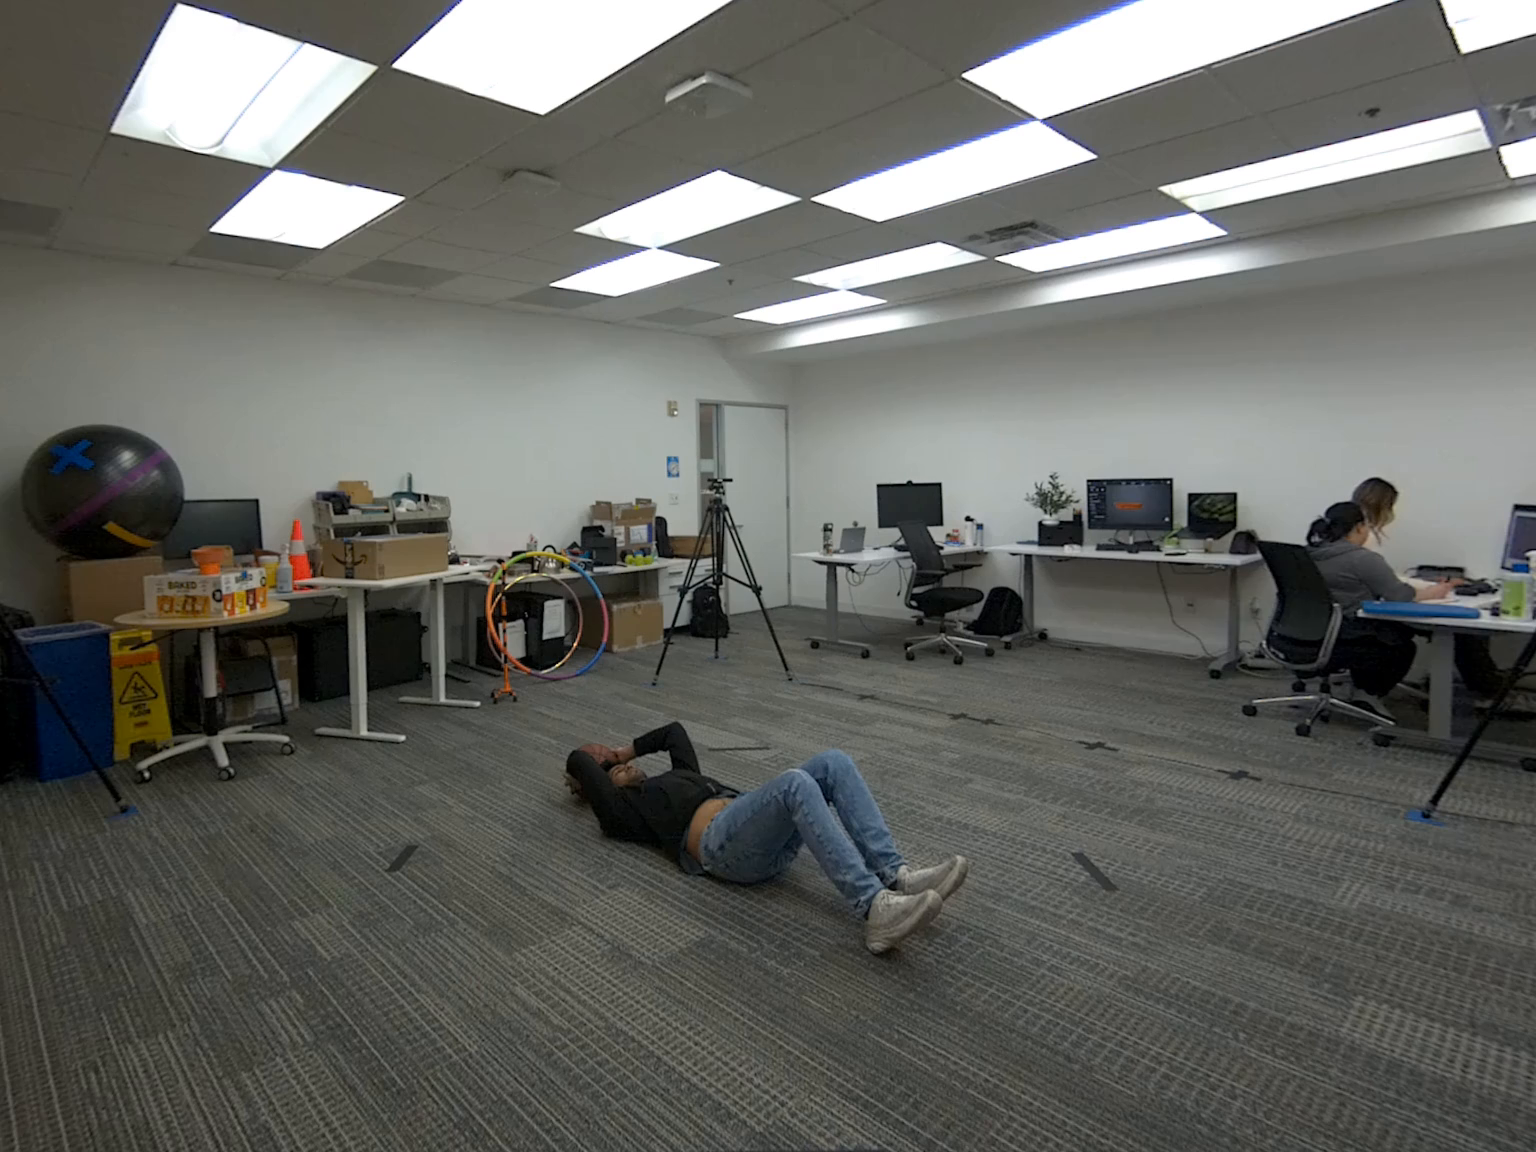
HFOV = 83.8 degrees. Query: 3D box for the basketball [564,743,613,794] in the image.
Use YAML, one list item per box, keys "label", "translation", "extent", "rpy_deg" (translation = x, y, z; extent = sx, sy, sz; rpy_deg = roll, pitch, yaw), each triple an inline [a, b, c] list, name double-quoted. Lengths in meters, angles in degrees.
- label: "basketball"
  translation: [-0.769, 0.858, 3.784]
  extent: [0.236, 0.235, 0.237]
  rpy_deg: [-1, 5, -2]
